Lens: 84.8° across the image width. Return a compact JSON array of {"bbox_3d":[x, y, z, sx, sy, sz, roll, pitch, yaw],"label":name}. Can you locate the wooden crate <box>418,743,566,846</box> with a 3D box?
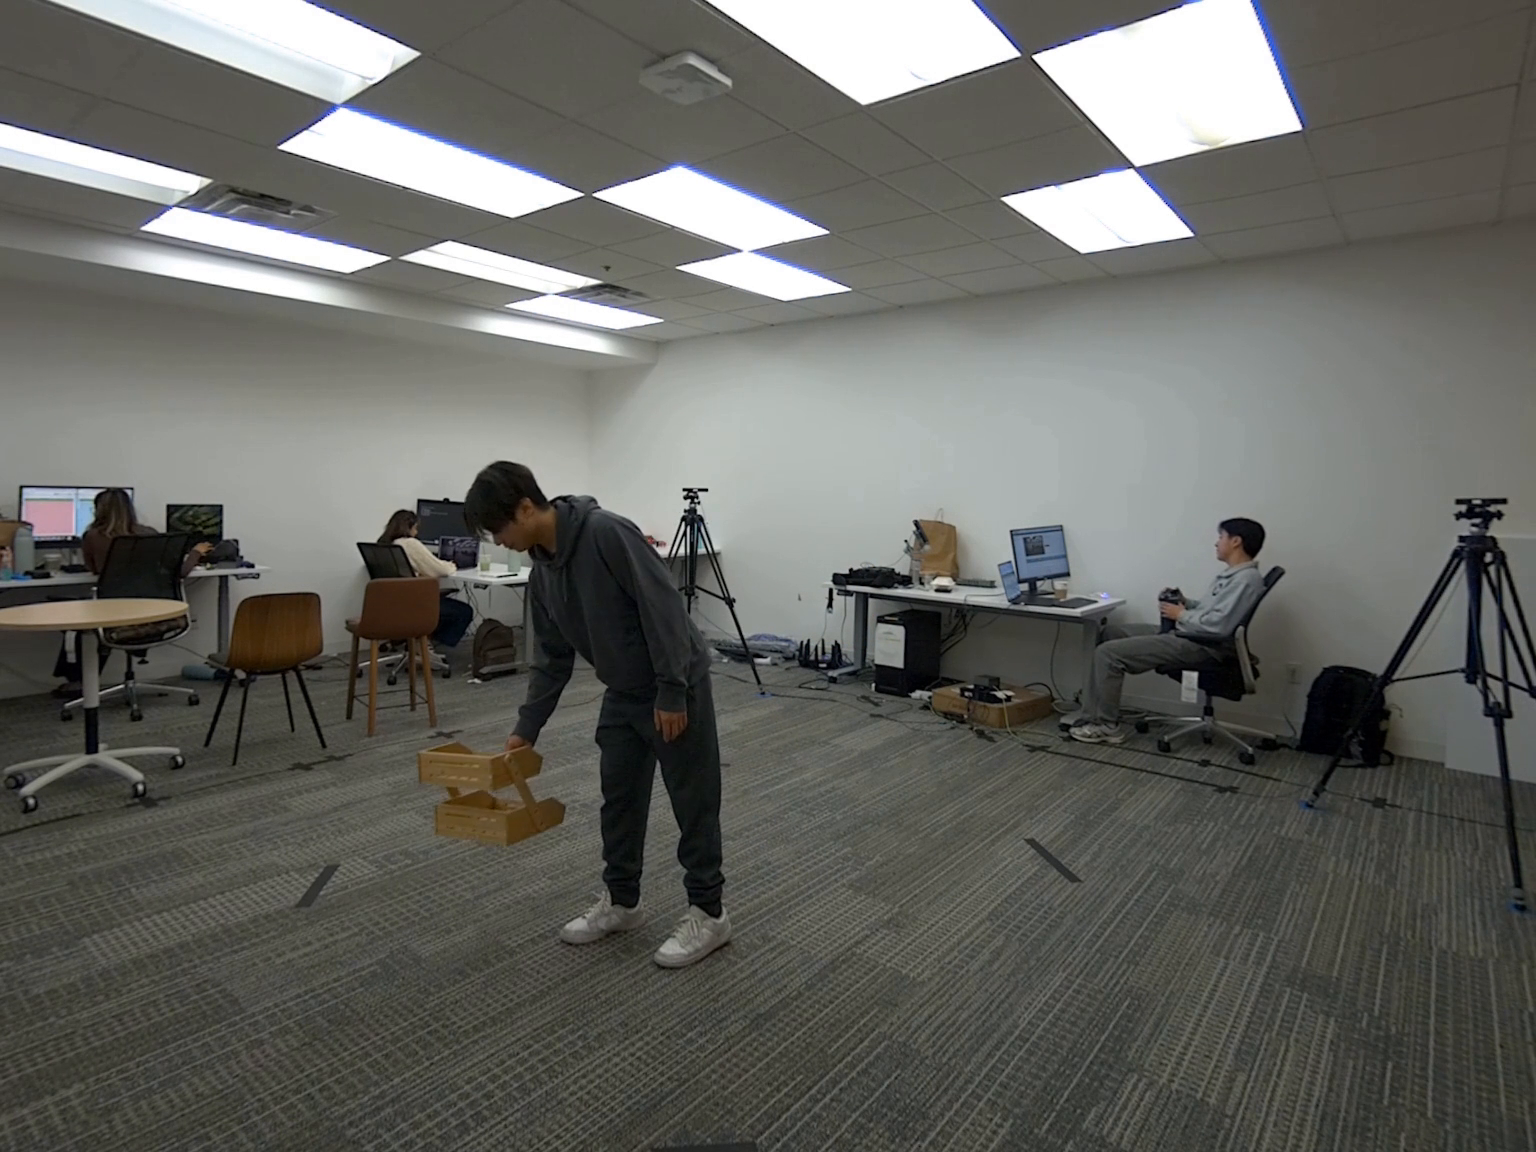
[{"bbox_3d":[-0.837,0.633,2.569,0.333,0.274,0.294,-4,0,29],"label":"wooden crate"}]
